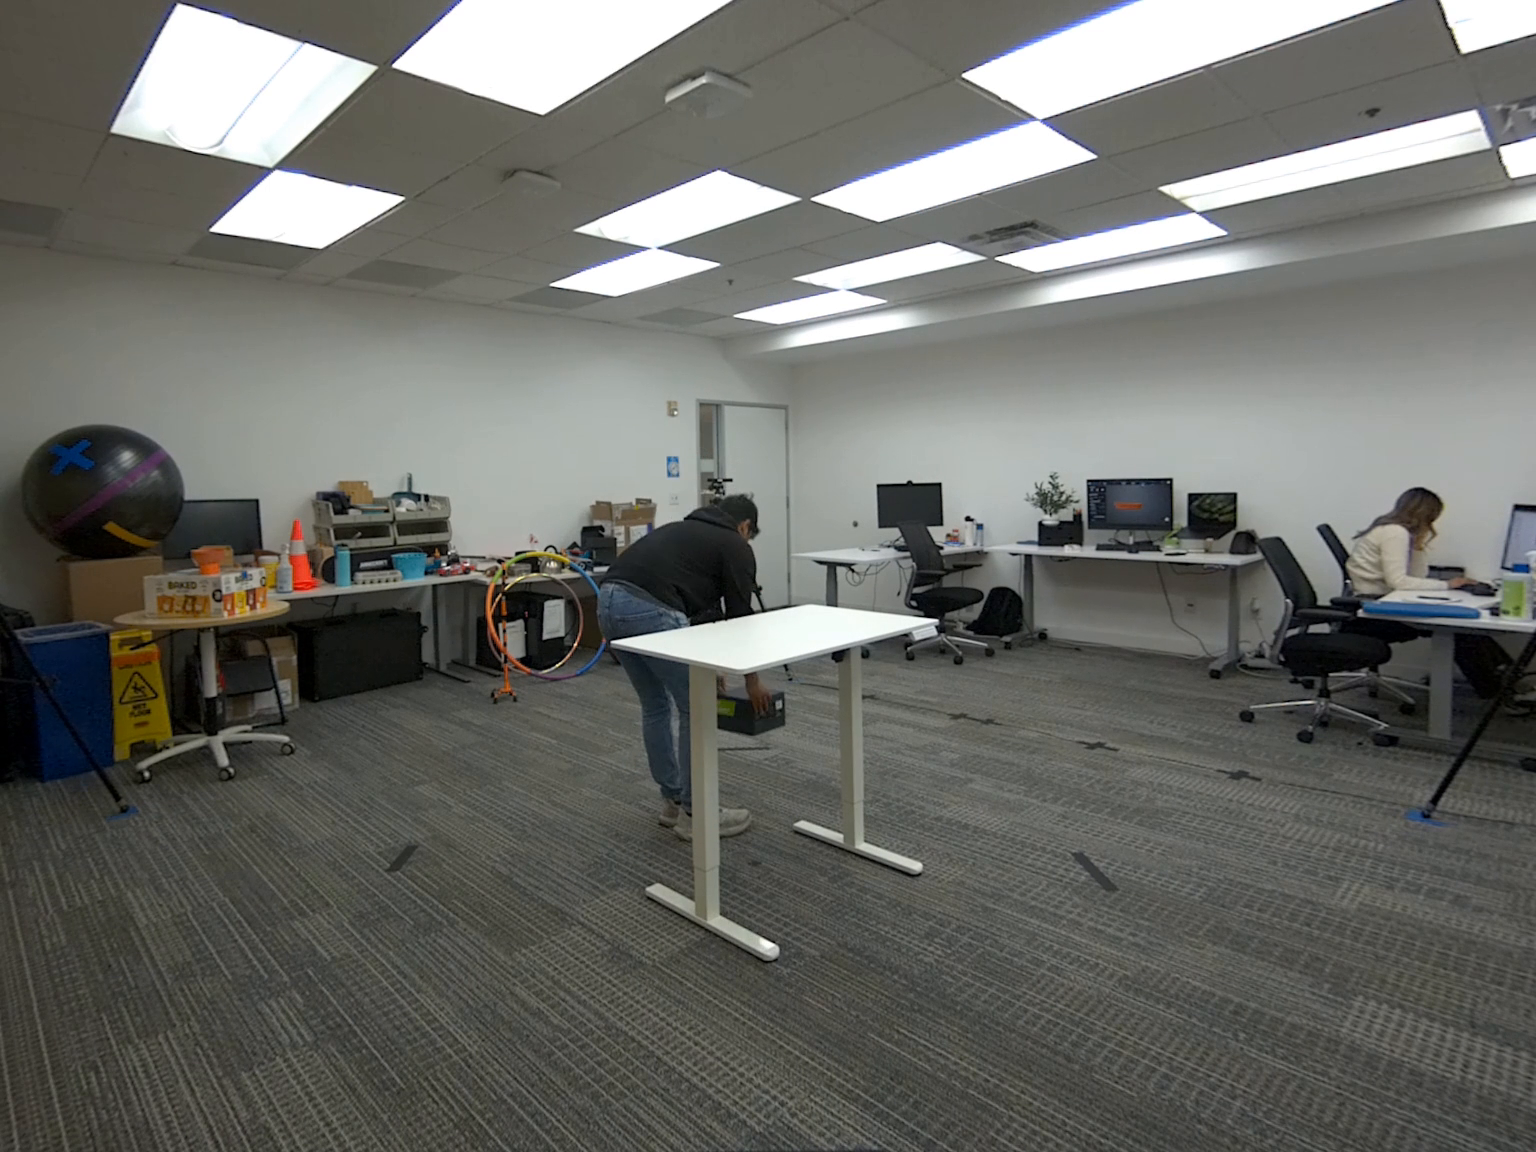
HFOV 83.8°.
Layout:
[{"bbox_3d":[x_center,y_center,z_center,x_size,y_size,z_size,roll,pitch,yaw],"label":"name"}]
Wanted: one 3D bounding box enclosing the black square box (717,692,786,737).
[{"bbox_3d":[-0.080,0.587,3.785,0.234,0.155,0.211,1,5,42],"label":"black square box"}]
